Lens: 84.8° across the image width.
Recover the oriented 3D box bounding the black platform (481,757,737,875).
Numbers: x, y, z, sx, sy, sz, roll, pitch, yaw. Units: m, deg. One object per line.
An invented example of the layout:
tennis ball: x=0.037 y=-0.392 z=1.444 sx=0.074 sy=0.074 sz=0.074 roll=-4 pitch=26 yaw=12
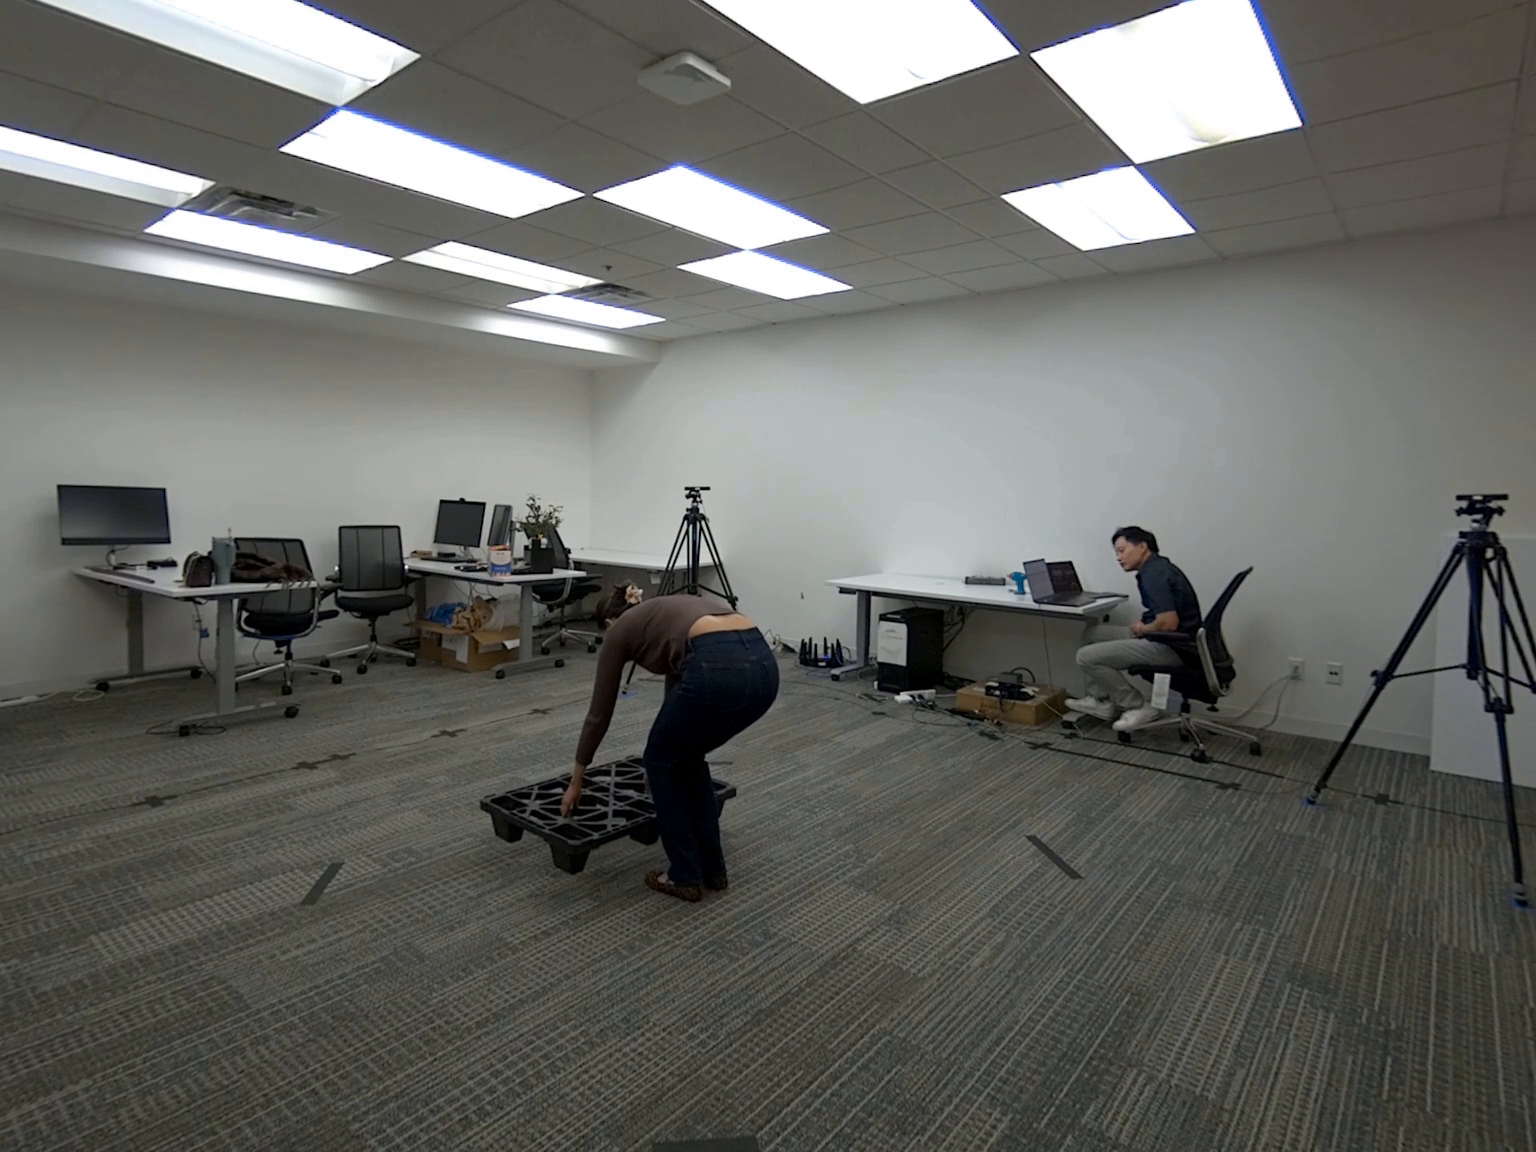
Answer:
black platform: x=-0.607 y=0.900 z=3.271 sx=0.626 sy=0.143 sz=0.782 roll=6 pitch=8 yaw=42
